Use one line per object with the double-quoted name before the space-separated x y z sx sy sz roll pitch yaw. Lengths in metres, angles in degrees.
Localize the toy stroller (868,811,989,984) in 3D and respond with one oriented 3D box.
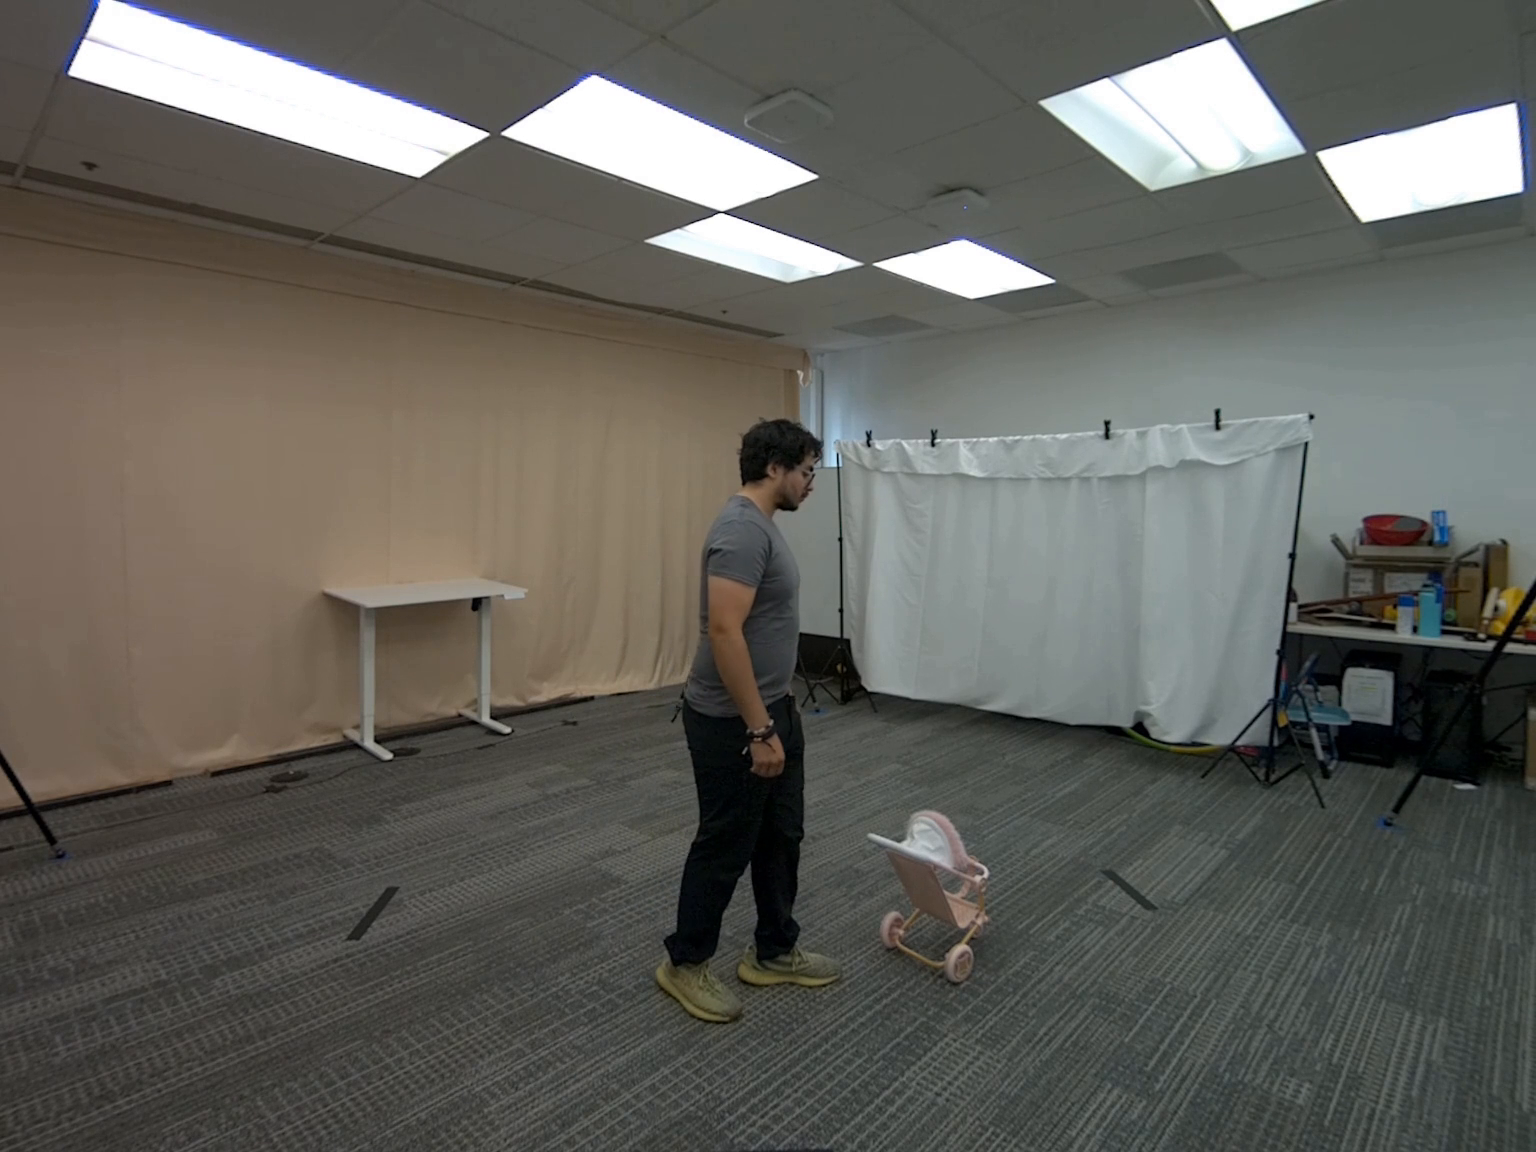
"toy stroller" 0.524 0.953 2.581 0.334 0.529 0.290 -23 16 -33
